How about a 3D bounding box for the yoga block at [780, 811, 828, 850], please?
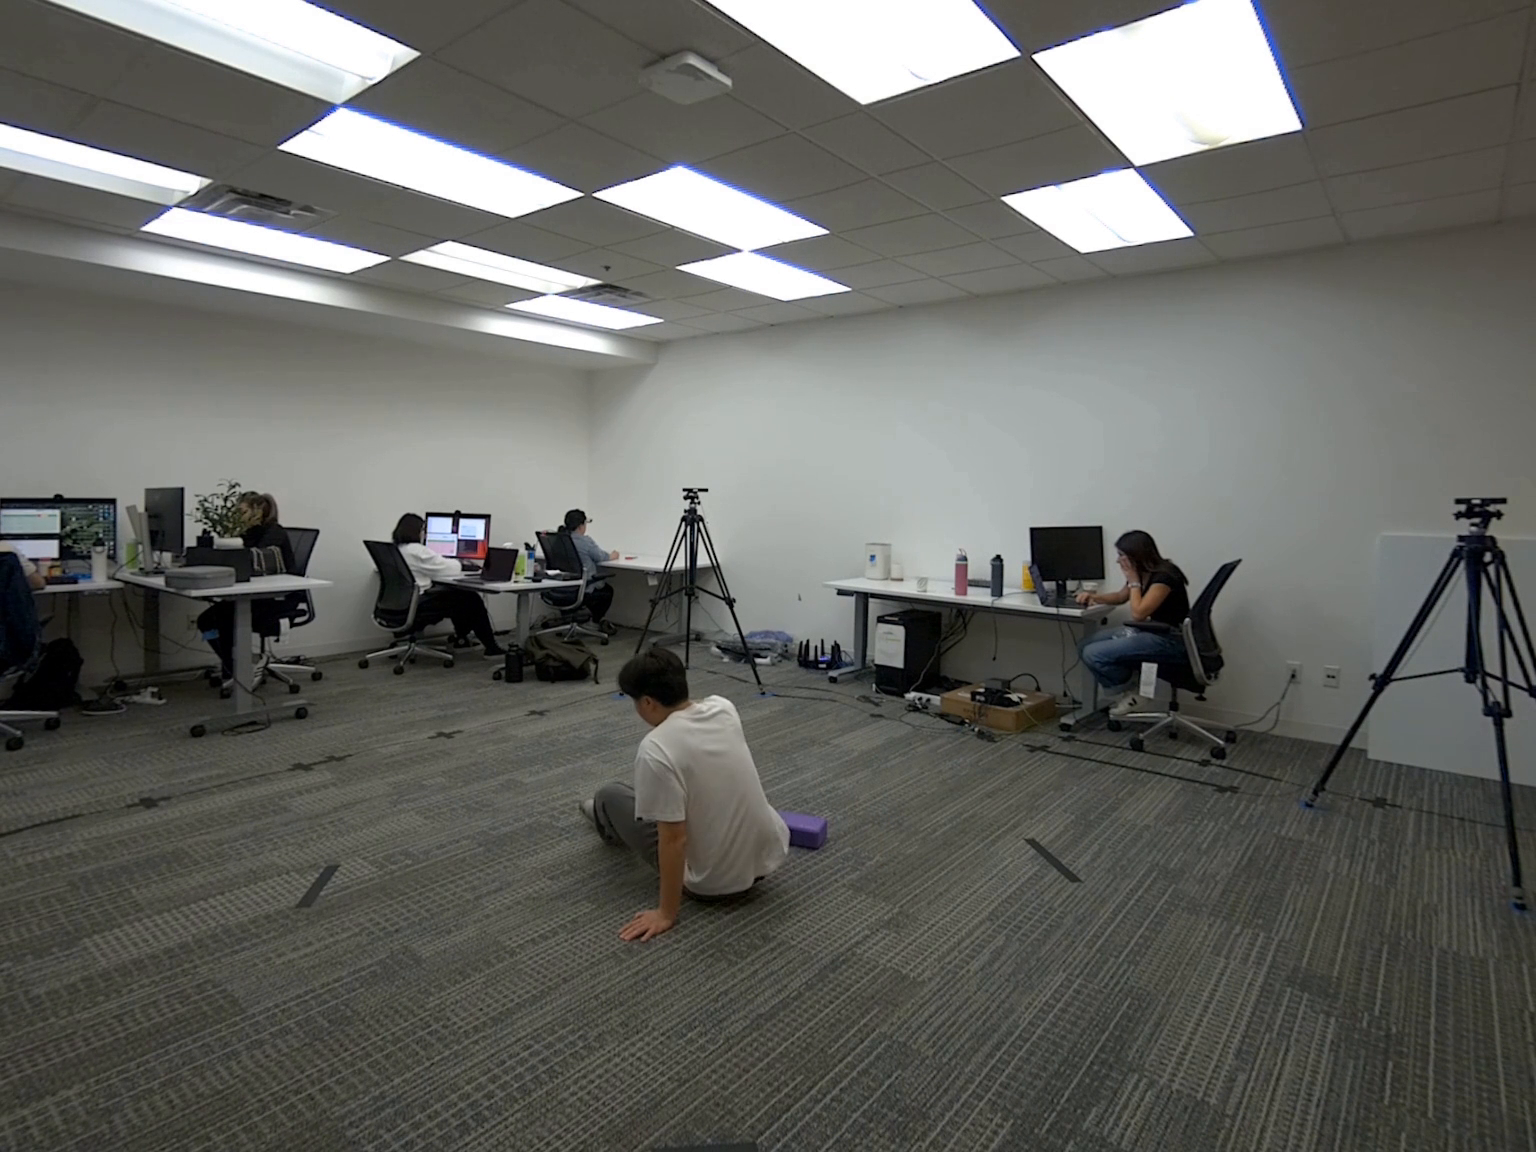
[{"bbox_3d":[0.111,1.001,3.396,0.234,0.076,0.147,3,7,19],"label":"yoga block"}]
